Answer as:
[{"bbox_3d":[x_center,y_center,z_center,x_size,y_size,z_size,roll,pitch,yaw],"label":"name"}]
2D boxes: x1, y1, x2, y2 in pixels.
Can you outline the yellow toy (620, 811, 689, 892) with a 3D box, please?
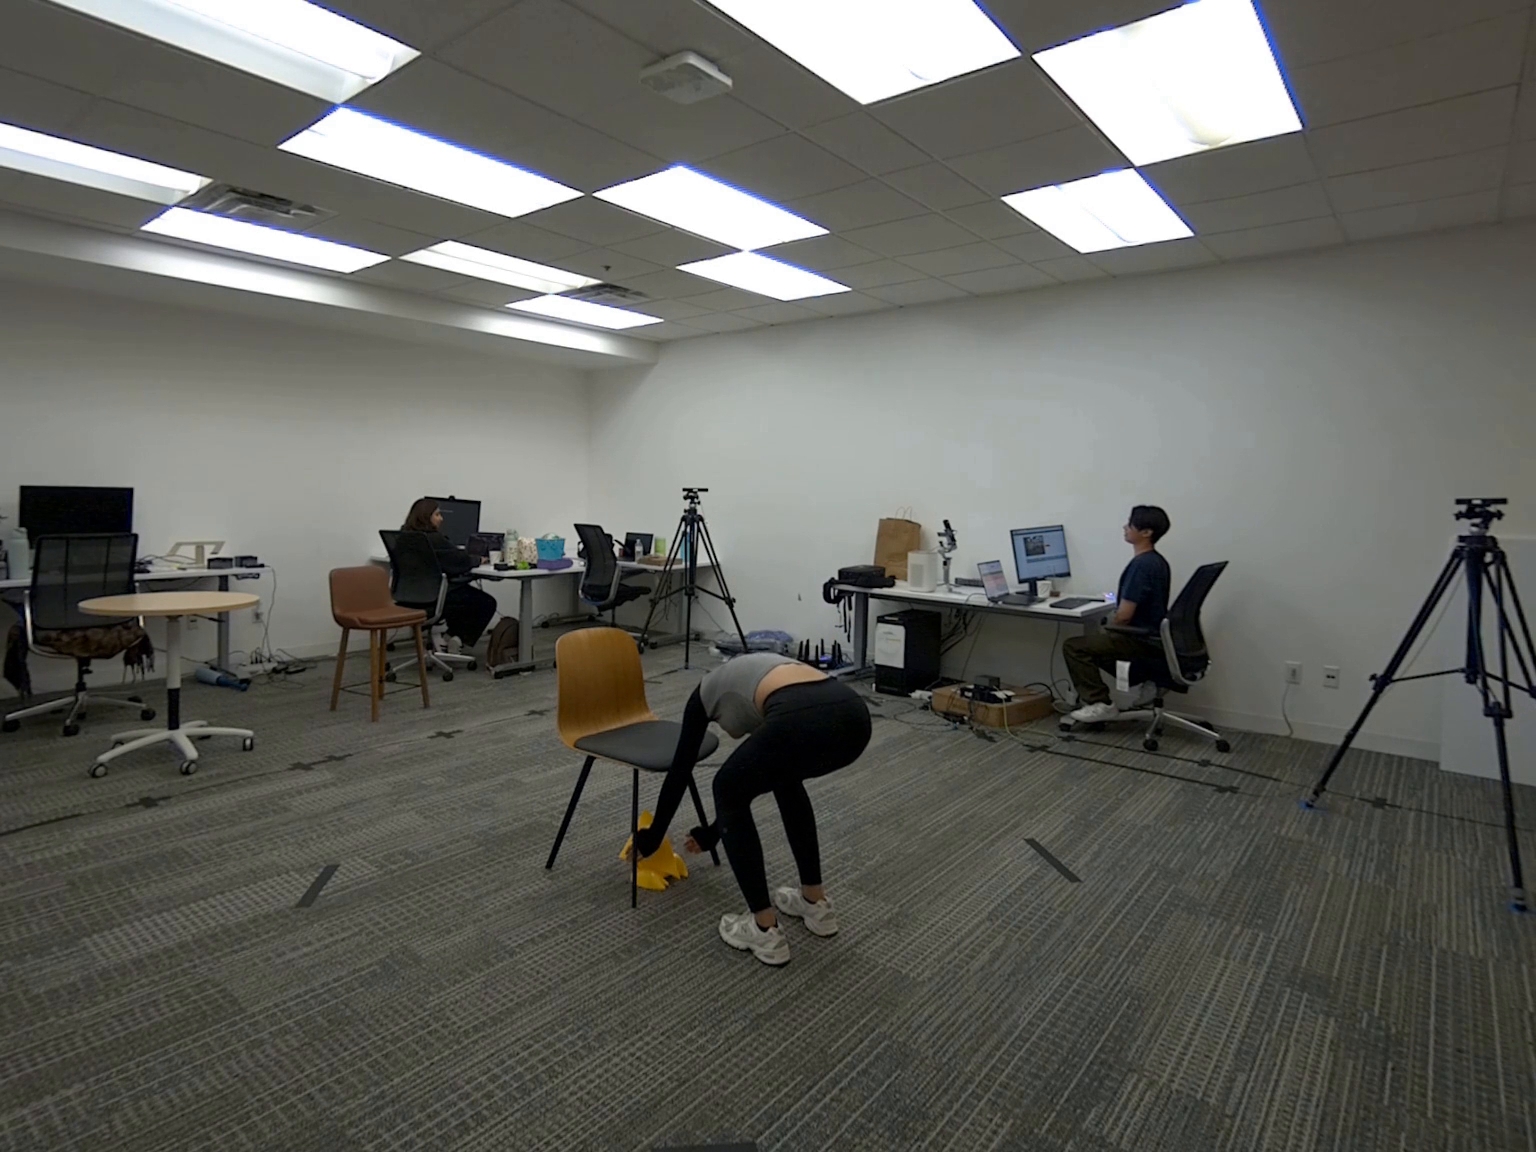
[{"bbox_3d":[-0.404,0.959,3.043,0.199,0.230,0.199,3,3,35],"label":"yellow toy"}]
